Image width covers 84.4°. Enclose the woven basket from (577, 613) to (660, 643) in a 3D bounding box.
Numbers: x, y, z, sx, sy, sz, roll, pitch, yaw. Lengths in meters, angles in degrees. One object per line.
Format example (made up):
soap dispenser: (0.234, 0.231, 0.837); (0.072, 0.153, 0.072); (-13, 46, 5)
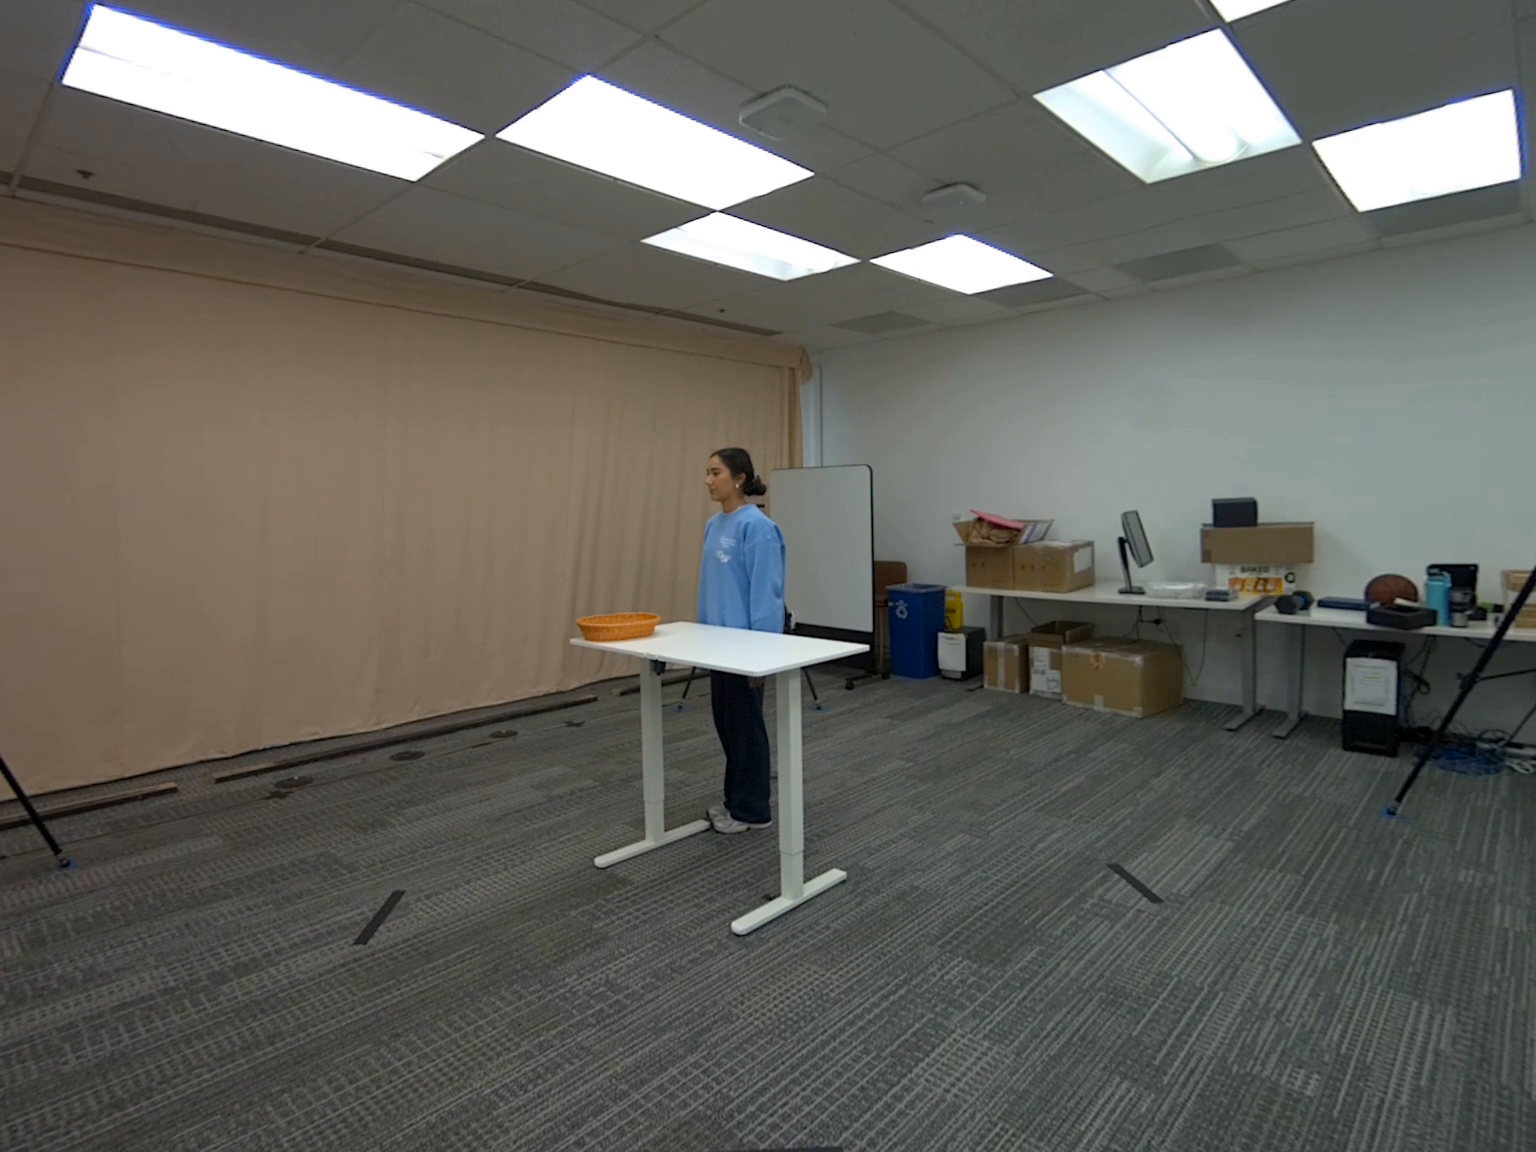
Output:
woven basket: (-0.586, 0.211, 3.335); (0.341, 0.073, 0.260); (-4, 6, -33)
